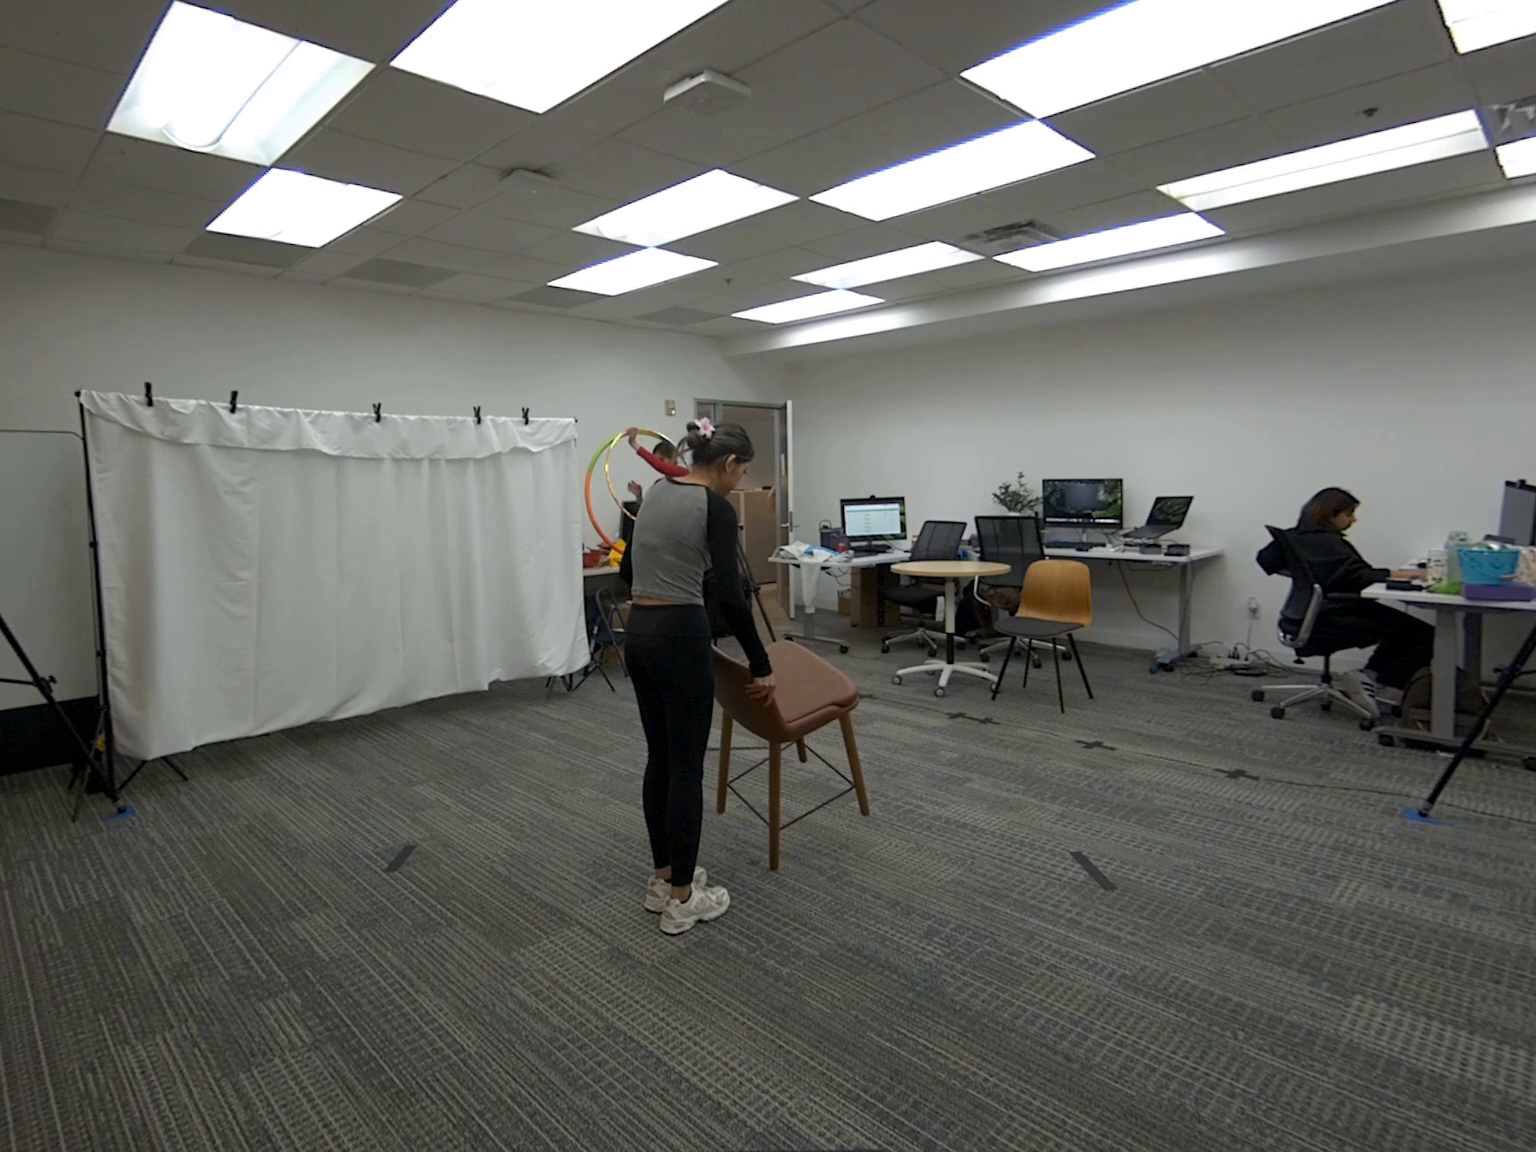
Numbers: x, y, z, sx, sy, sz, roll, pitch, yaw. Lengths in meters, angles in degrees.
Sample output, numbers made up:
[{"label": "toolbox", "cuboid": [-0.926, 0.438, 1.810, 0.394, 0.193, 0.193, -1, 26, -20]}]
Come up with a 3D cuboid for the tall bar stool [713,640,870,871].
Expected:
[{"label": "tall bar stool", "cuboid": [0.045, 0.533, 3.091, 0.461, 0.867, 0.474, -23, 32, -27]}]
